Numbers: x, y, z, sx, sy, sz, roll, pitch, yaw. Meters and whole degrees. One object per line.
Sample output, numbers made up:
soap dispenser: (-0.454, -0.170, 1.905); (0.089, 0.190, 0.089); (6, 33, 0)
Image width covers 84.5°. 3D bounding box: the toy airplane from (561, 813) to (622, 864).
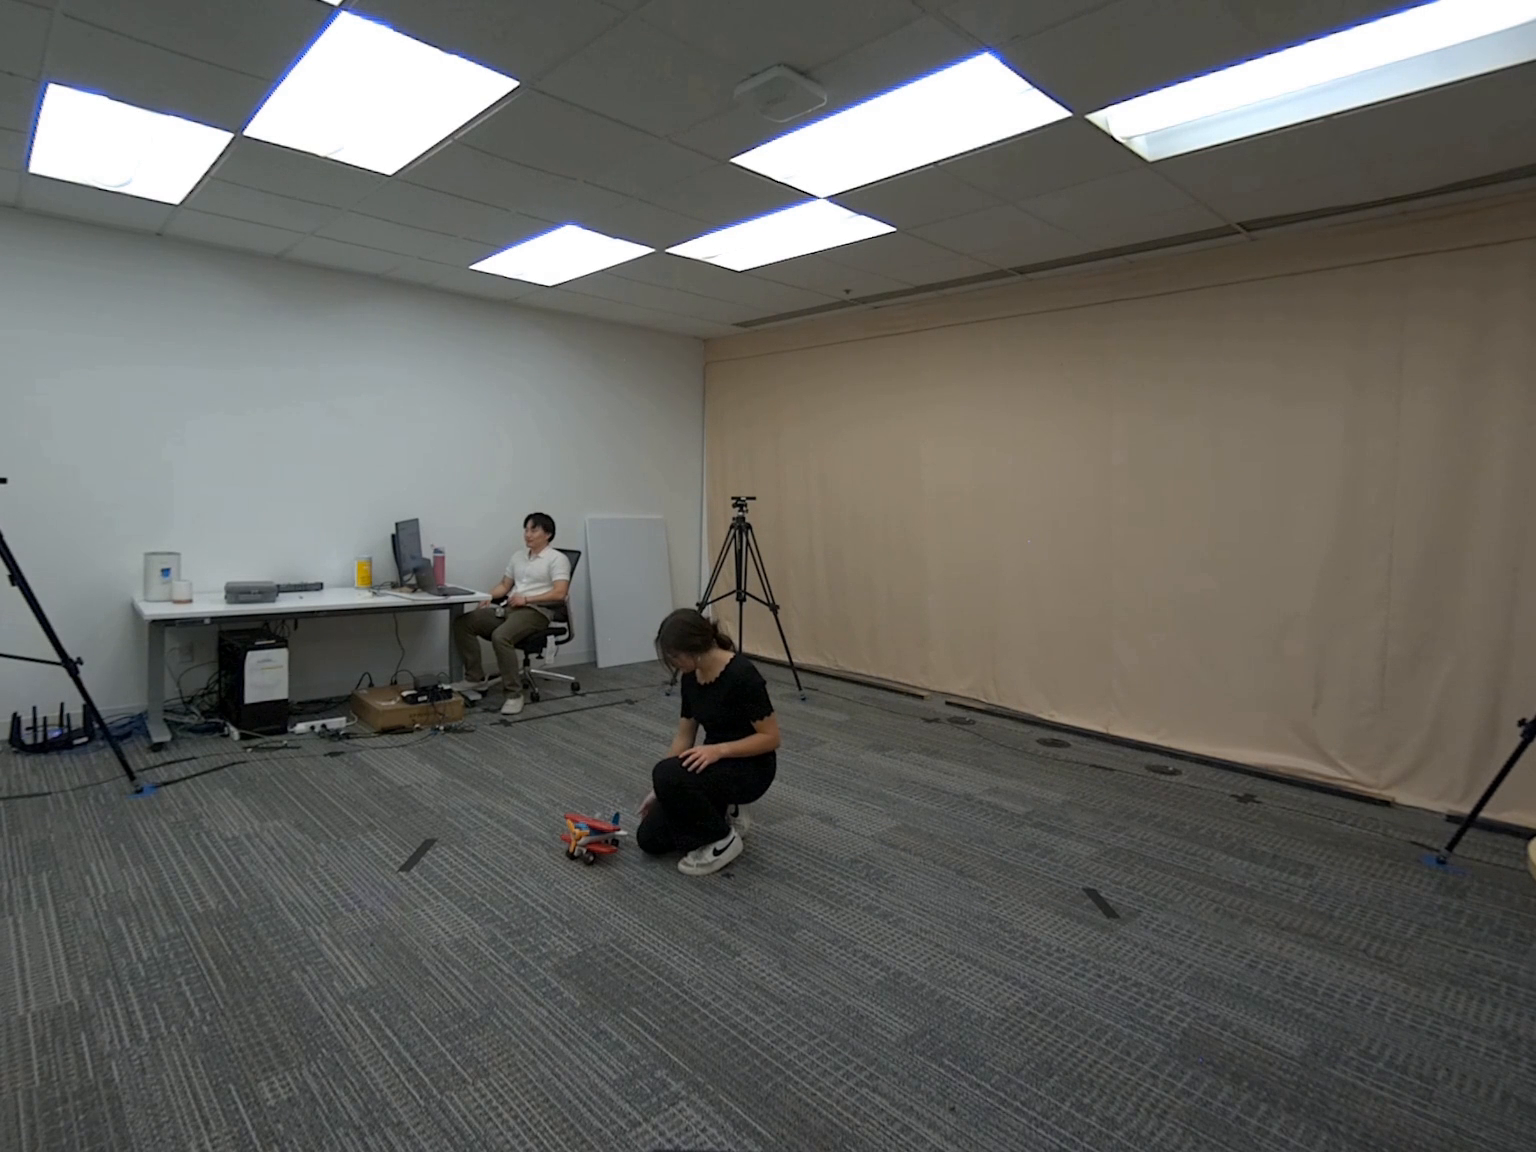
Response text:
toy airplane: (-0.689, 0.999, 3.273); (0.252, 0.156, 0.259); (2, 7, 3)
